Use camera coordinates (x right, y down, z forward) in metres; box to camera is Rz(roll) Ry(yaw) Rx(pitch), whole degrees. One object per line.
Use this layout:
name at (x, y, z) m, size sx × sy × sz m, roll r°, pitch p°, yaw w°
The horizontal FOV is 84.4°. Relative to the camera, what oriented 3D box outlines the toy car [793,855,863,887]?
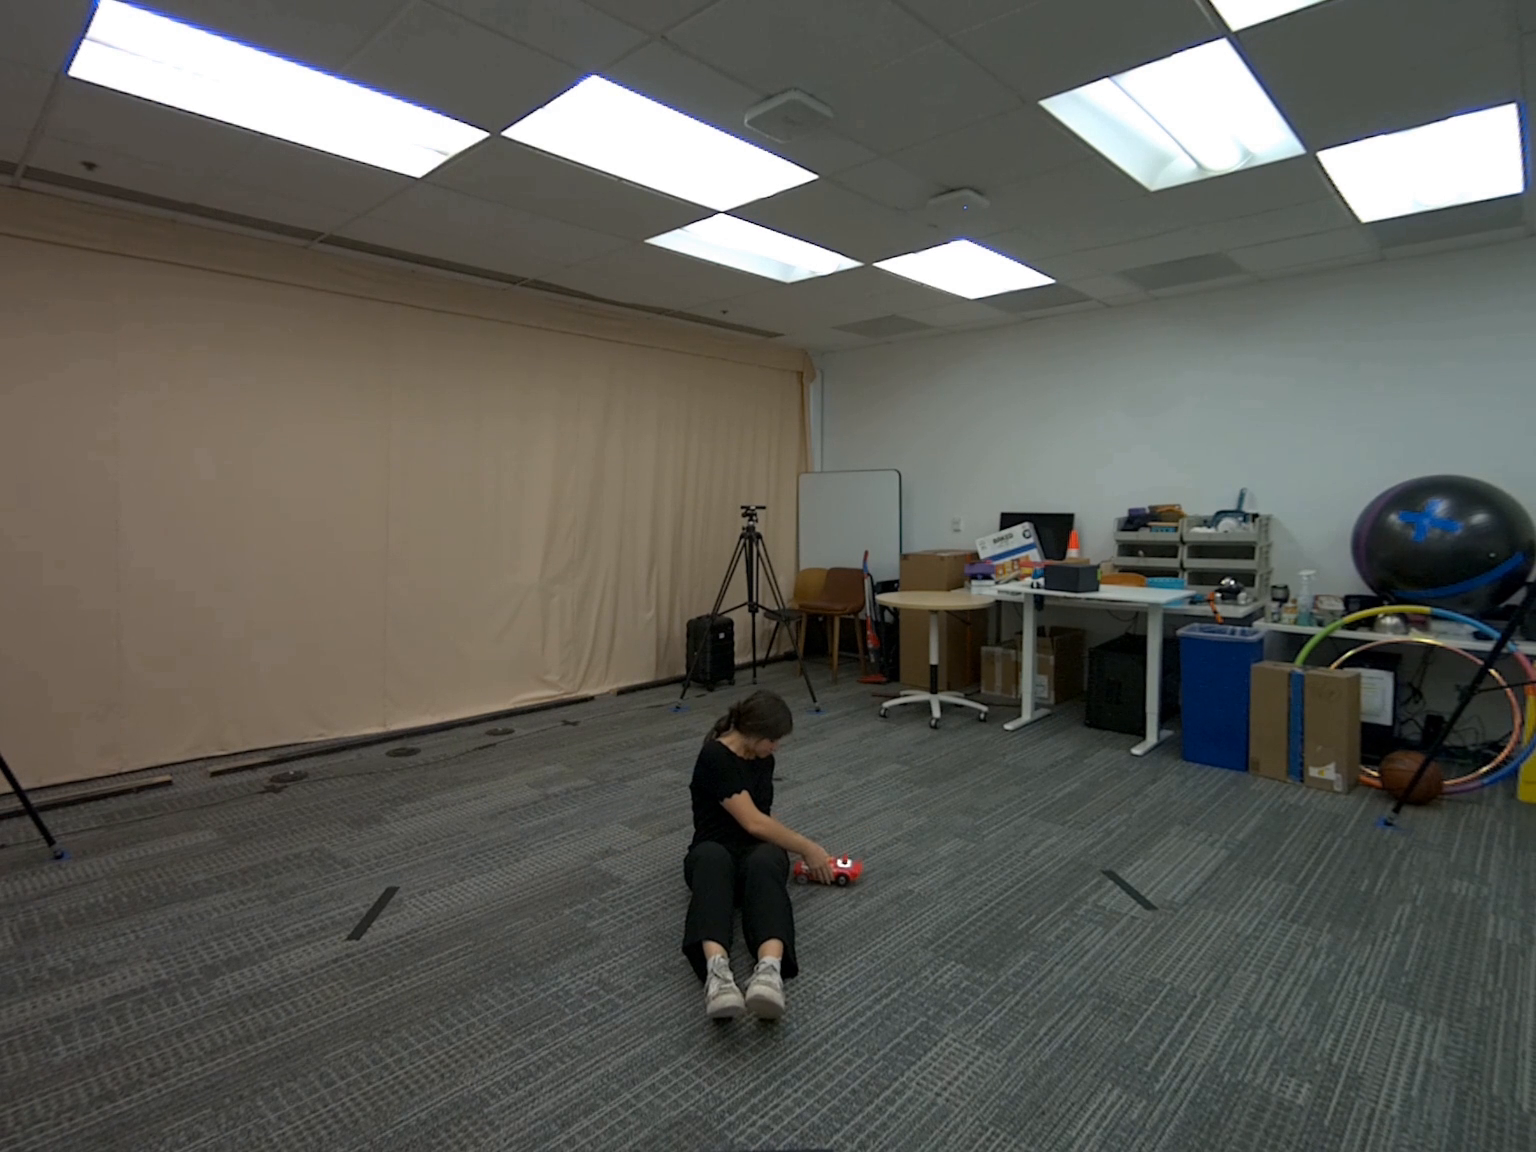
toy car at (0.233, 1.093, 3.119) m, size 0.257 × 0.083 × 0.129 m, roll -14°, pitch 3°, yaw 9°
